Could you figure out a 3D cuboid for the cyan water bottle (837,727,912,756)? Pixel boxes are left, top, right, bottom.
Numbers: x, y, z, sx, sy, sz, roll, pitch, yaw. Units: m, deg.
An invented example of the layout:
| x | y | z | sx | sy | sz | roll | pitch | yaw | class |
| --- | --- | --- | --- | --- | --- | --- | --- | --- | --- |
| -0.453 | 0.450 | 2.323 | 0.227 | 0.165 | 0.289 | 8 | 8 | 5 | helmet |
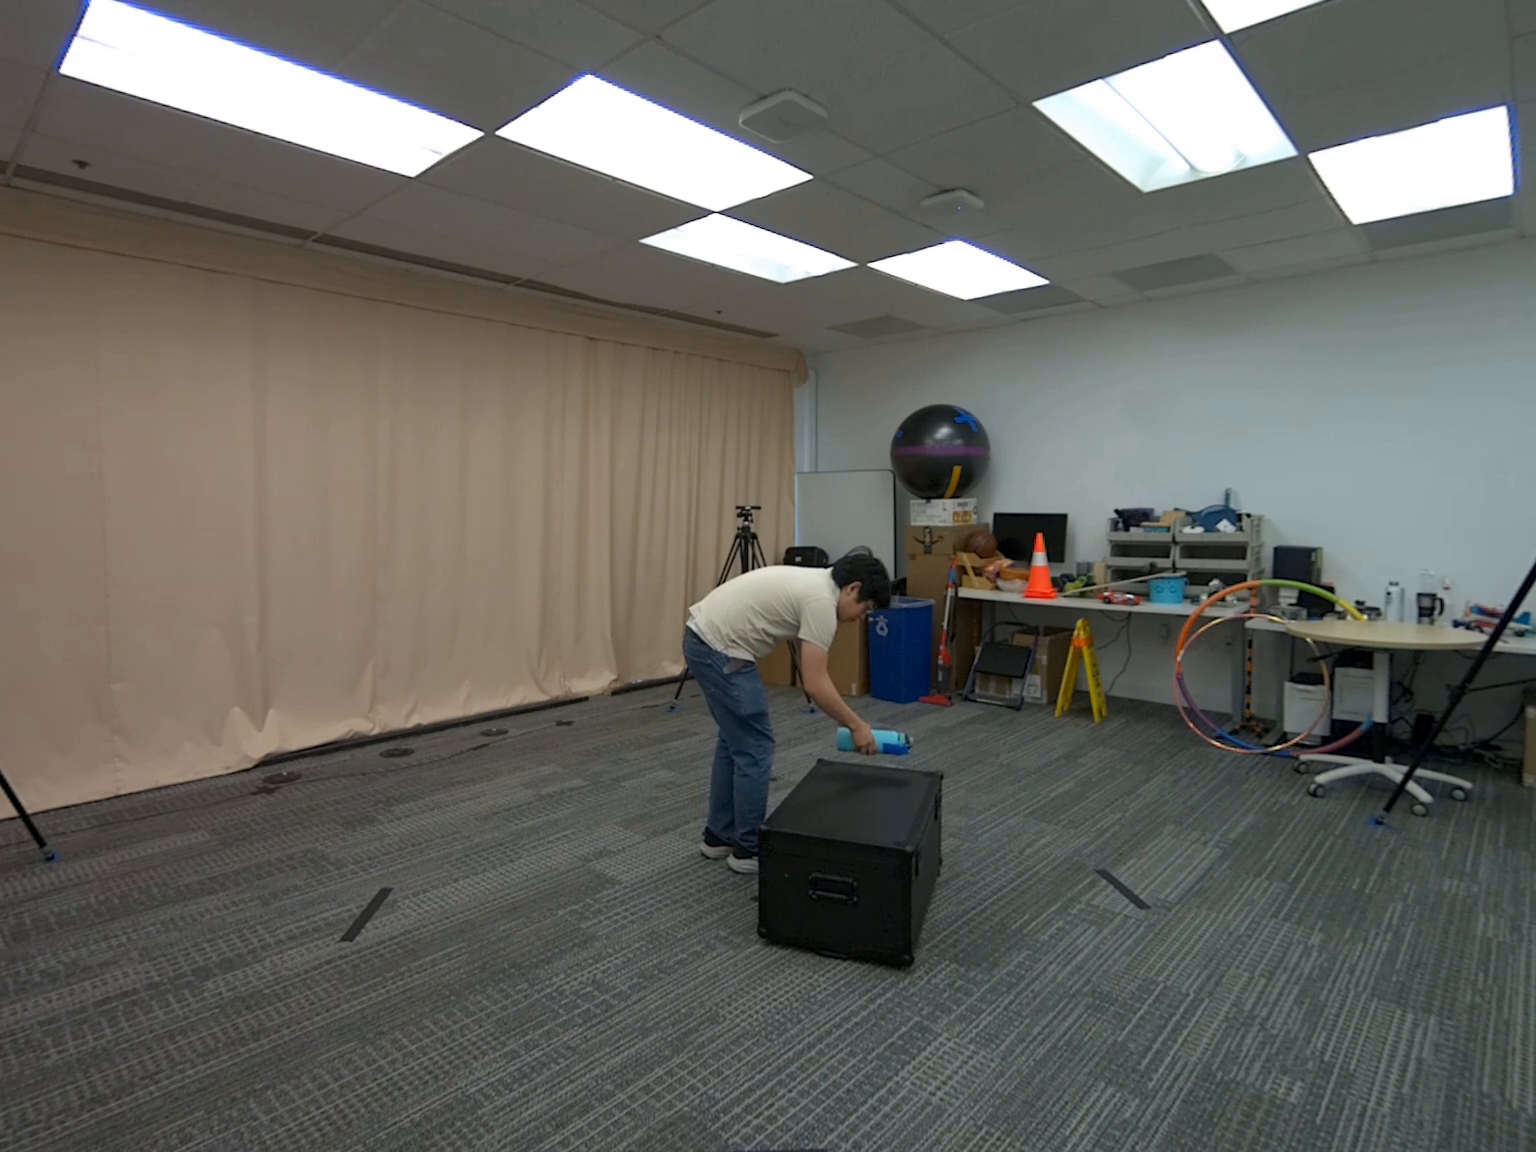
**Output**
| x | y | z | sx | sy | sz | roll | pitch | yaw | class |
| --- | --- | --- | --- | --- | --- | --- | --- | --- | --- |
| 0.414 | 0.638 | 3.198 | 0.287 | 0.092 | 0.091 | 0 | 4 | 14 | cyan water bottle |
